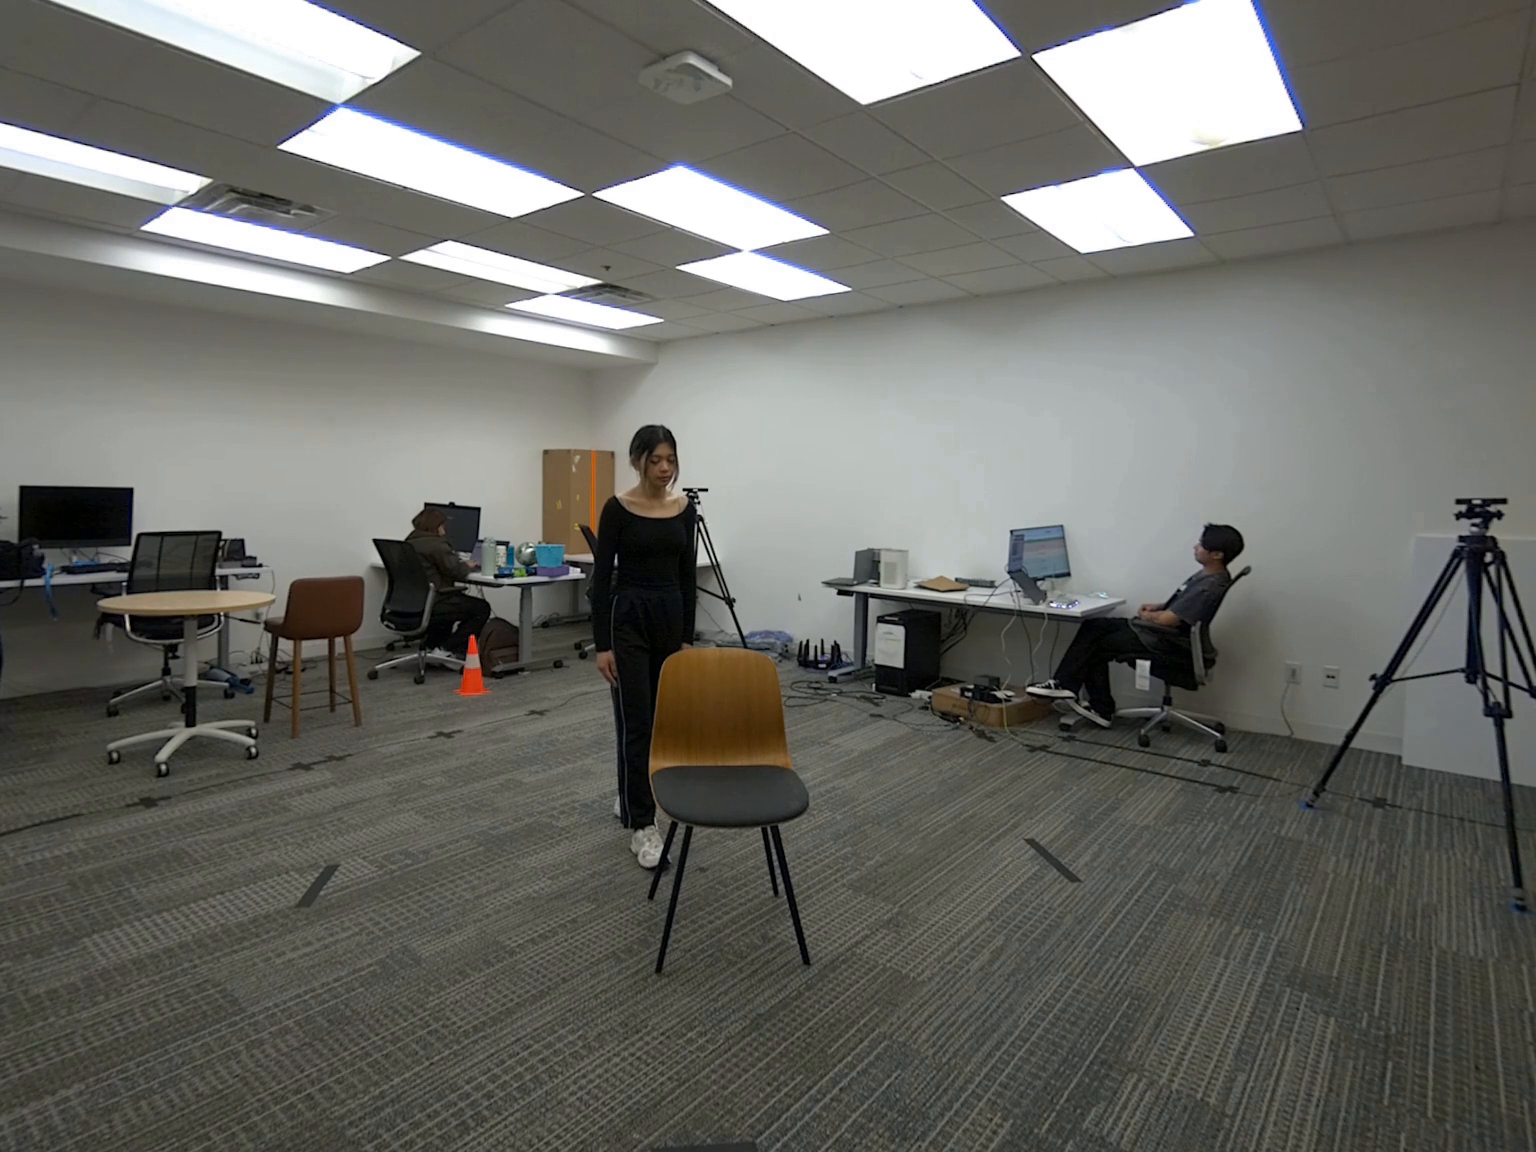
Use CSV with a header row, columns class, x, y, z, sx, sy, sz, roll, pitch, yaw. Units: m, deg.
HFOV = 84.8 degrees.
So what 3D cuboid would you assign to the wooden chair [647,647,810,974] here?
class,x,y,z,sx,sy,sz,roll,pitch,yaw
wooden chair,-0.133,0.687,2.648,0.473,0.878,0.528,1,-1,-10
